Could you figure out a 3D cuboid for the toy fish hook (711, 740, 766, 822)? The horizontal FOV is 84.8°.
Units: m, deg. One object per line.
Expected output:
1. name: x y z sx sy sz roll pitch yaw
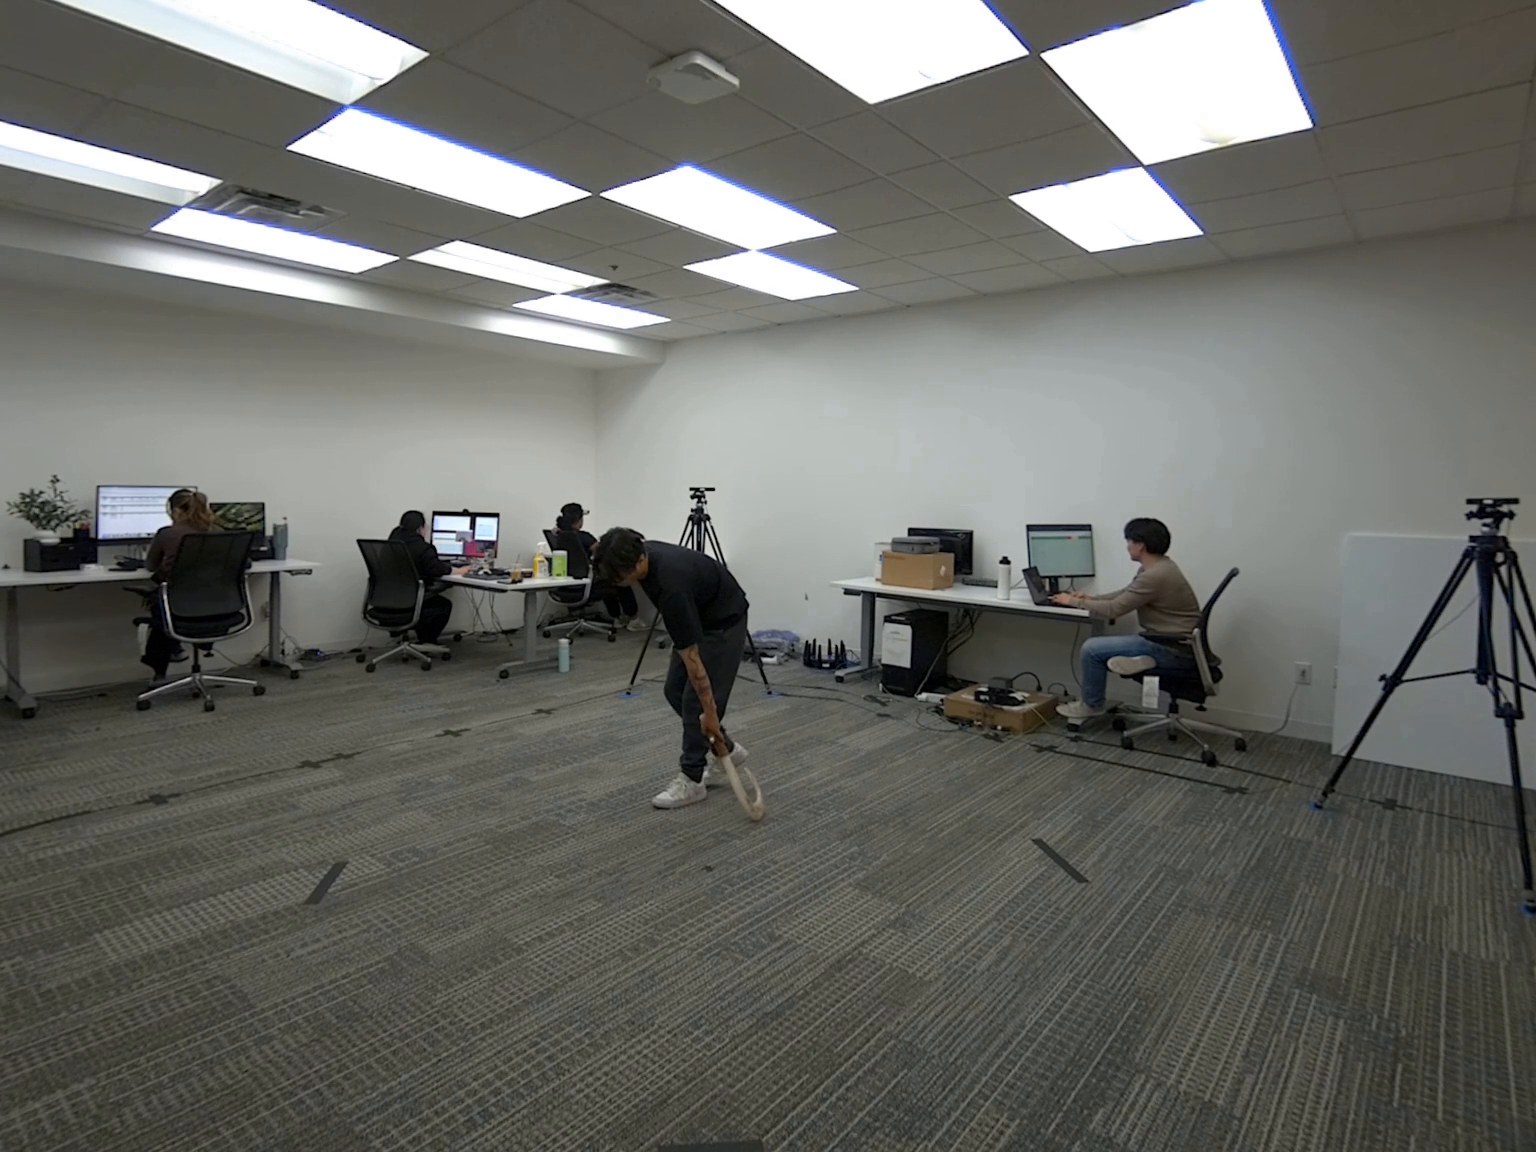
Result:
1. toy fish hook: -0.151 0.799 3.630 0.048 0.507 0.223 -28 0 14
